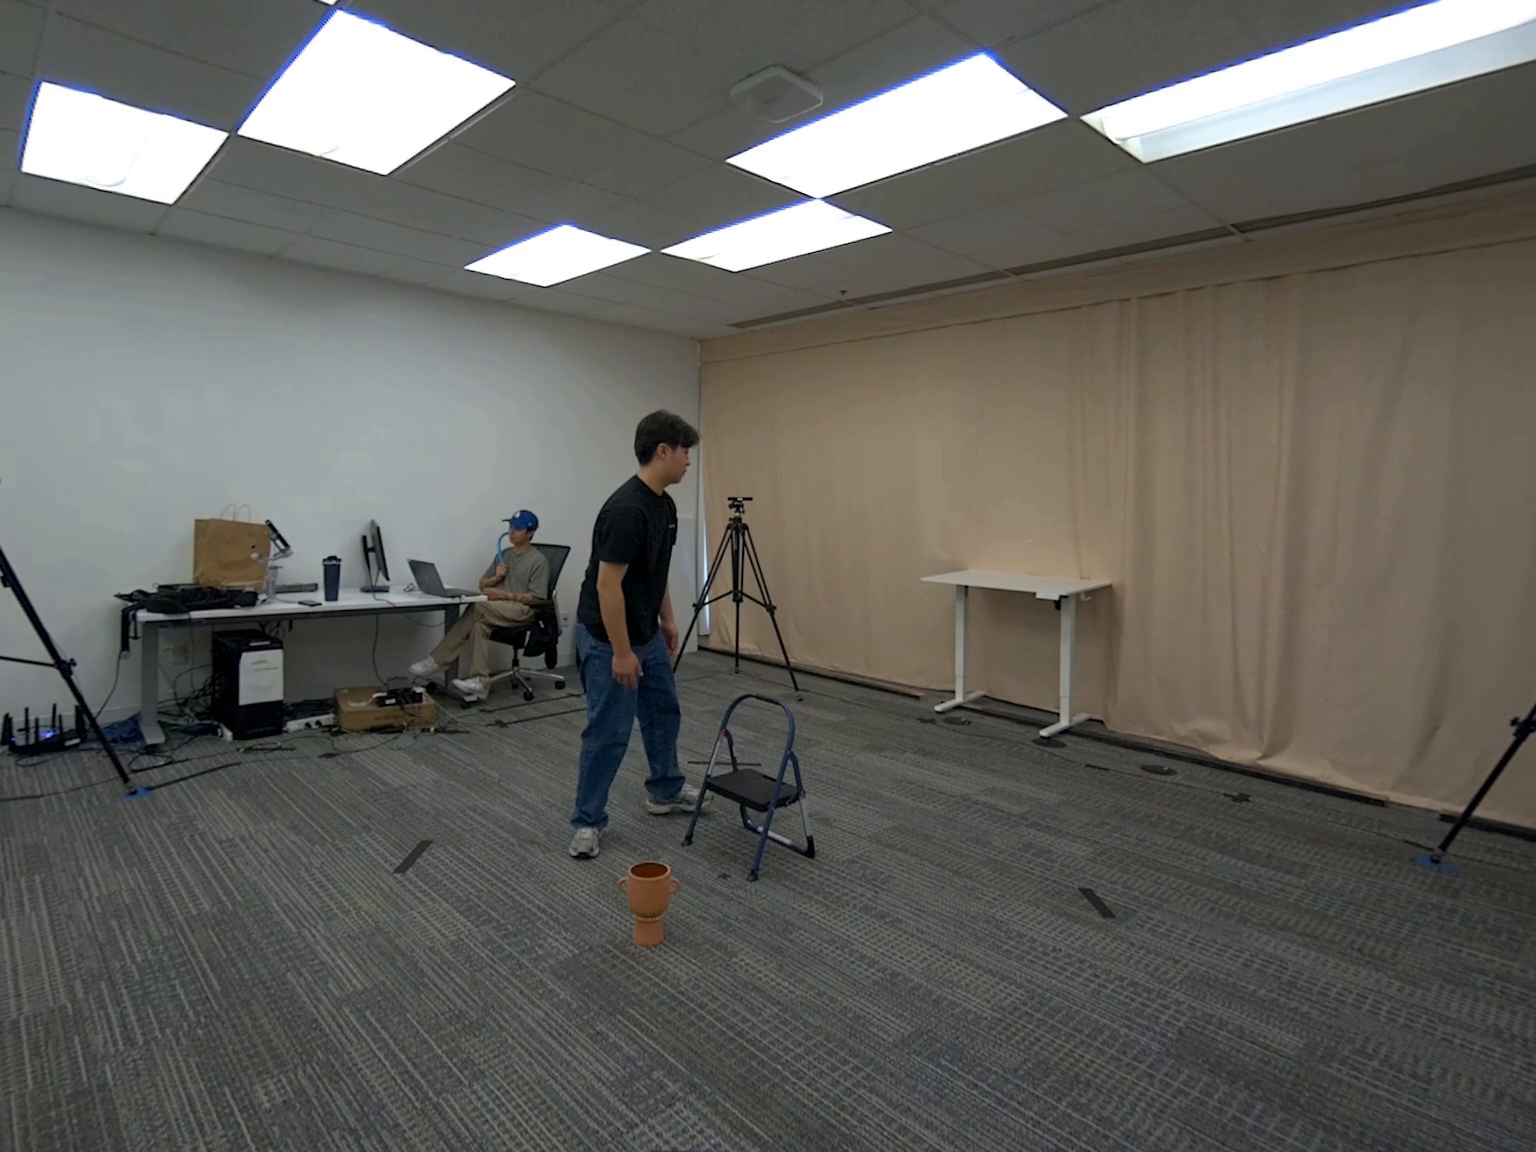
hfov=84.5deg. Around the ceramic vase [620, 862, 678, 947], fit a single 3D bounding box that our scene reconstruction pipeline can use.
[{"bbox_3d":[-0.382,1.029,2.647,0.162,0.219,0.132,4,4,35],"label":"ceramic vase"}]
